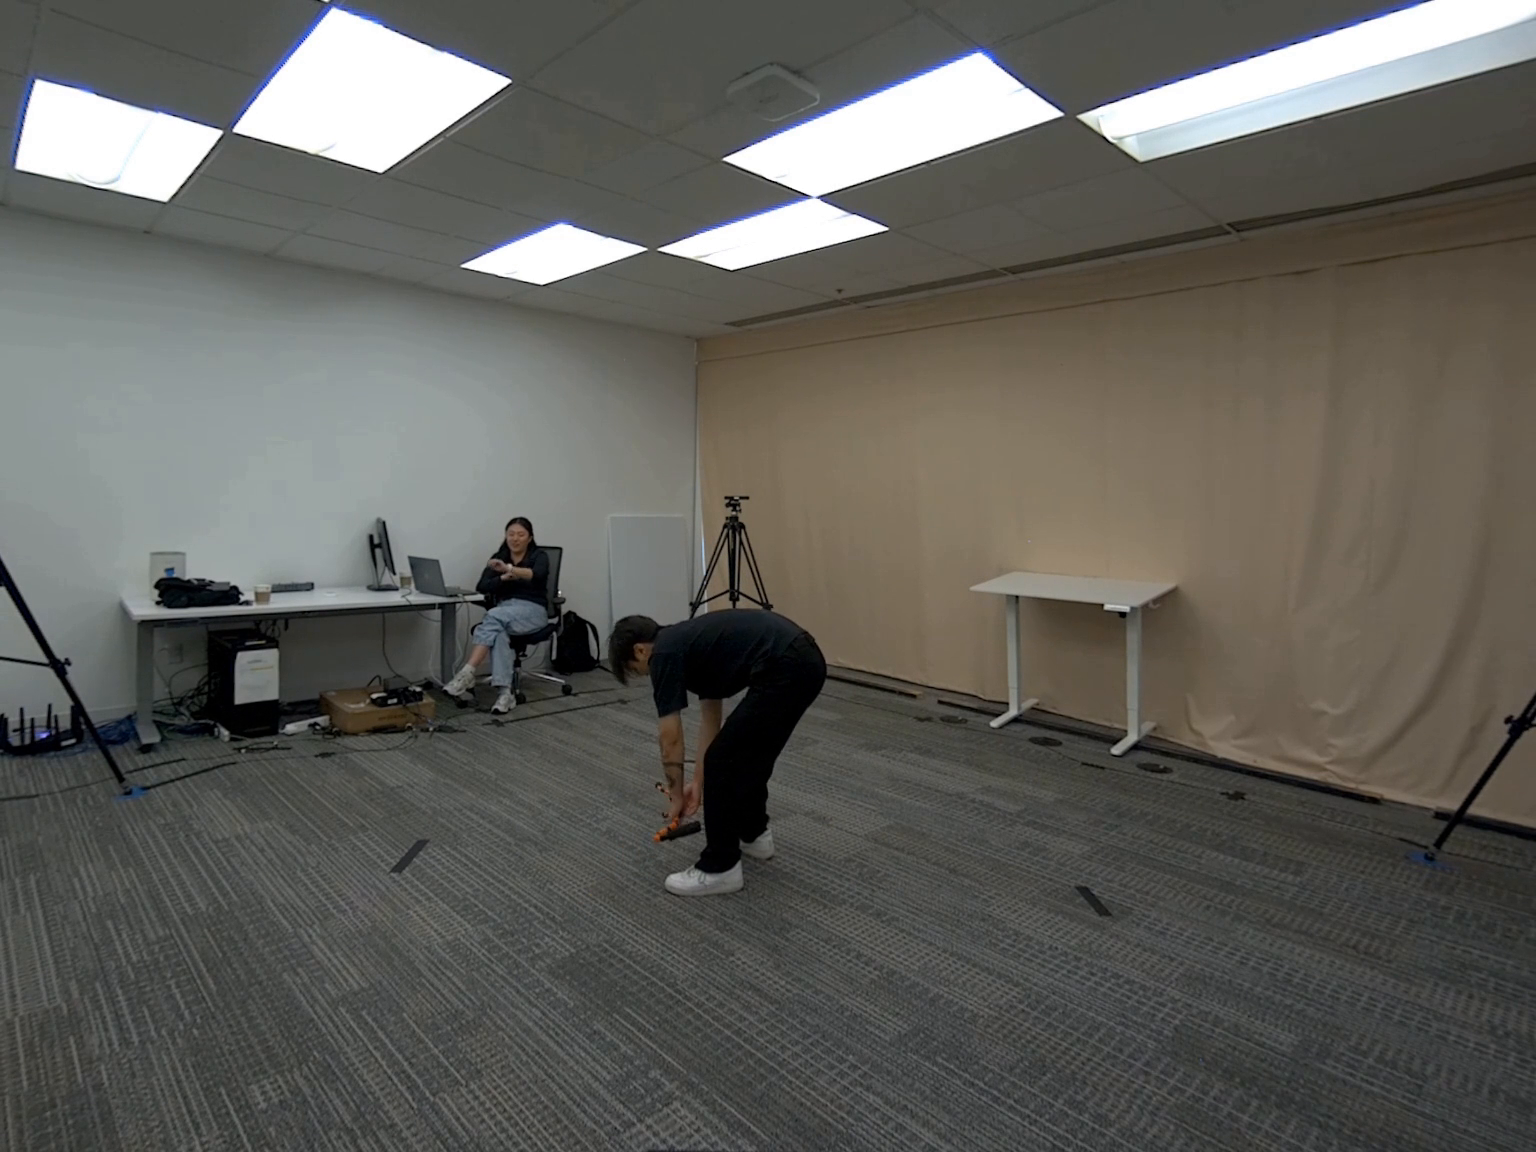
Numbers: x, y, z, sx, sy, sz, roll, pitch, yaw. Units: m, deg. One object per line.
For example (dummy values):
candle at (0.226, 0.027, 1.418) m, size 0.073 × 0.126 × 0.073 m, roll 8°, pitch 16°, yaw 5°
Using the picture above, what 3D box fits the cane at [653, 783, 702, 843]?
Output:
cane at (-0.357, 0.887, 3.180) m, size 0.206 × 0.152 × 0.904 m, roll -16°, pitch -5°, yaw -5°
